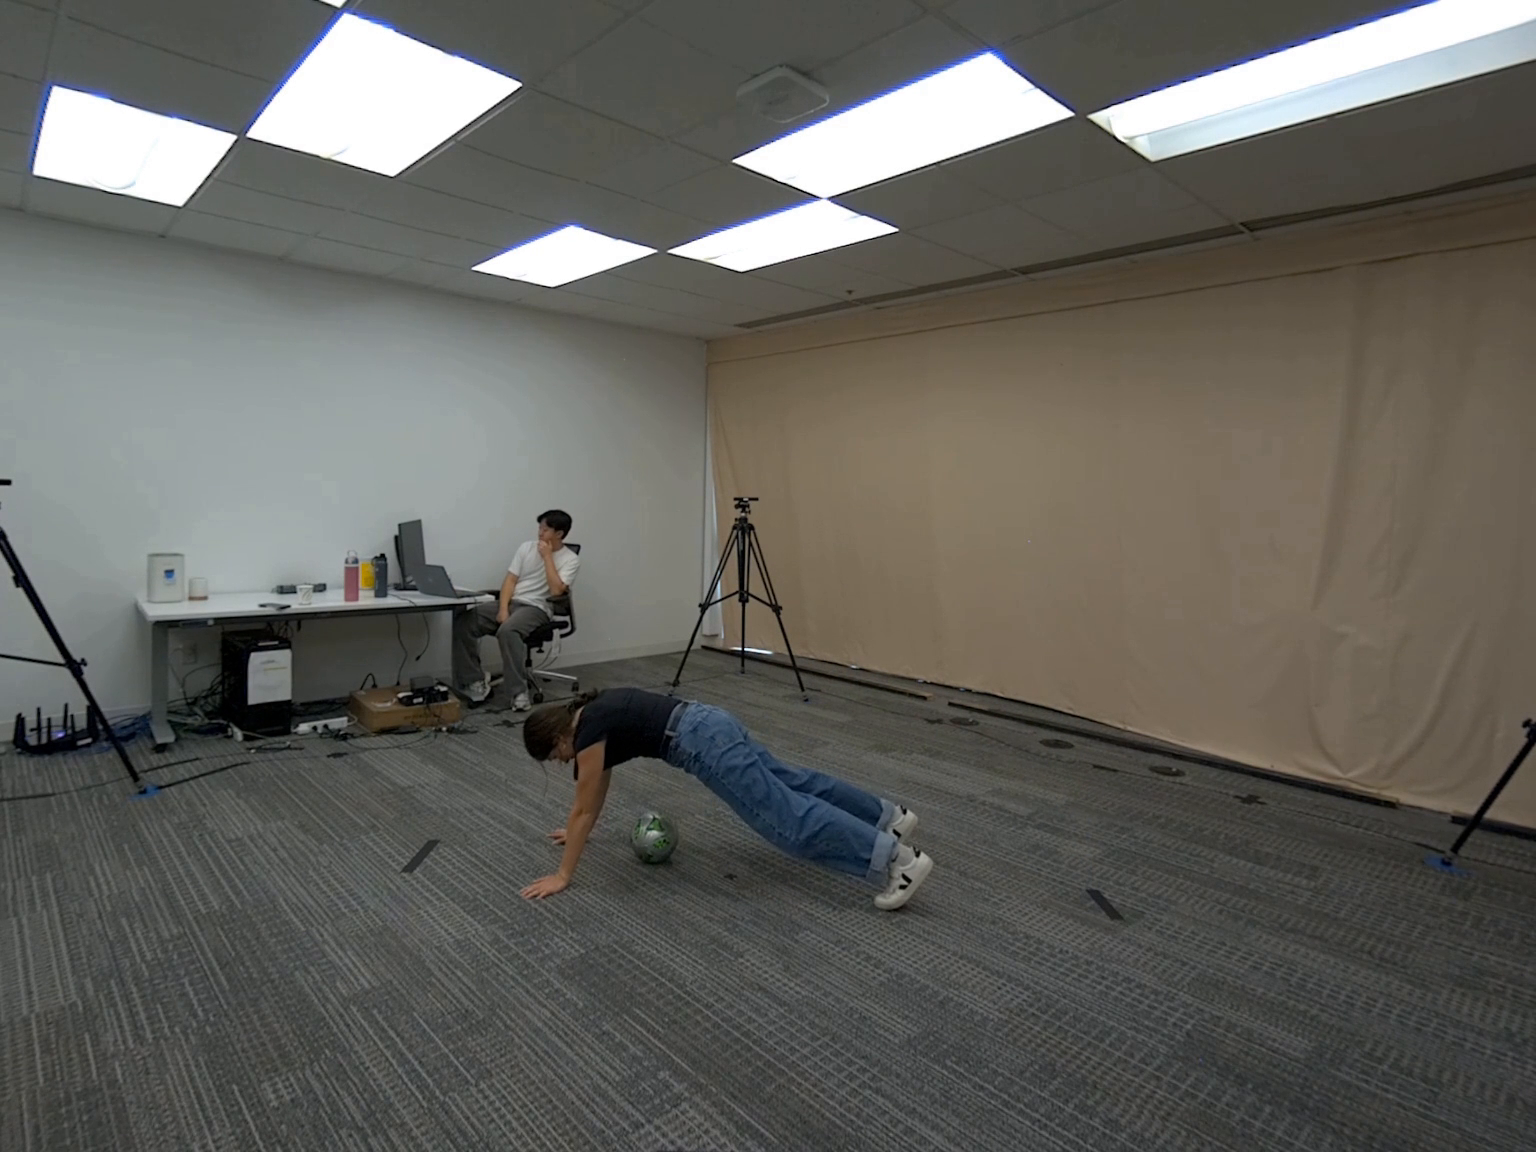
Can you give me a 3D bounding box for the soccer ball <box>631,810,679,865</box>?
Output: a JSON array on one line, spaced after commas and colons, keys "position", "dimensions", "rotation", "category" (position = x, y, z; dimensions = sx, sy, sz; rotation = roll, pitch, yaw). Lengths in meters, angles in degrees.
[{"position": [-0.444, 1.008, 3.215], "dimensions": [0.187, 0.187, 0.188], "rotation": [1, 4, -1], "category": "soccer ball"}]
